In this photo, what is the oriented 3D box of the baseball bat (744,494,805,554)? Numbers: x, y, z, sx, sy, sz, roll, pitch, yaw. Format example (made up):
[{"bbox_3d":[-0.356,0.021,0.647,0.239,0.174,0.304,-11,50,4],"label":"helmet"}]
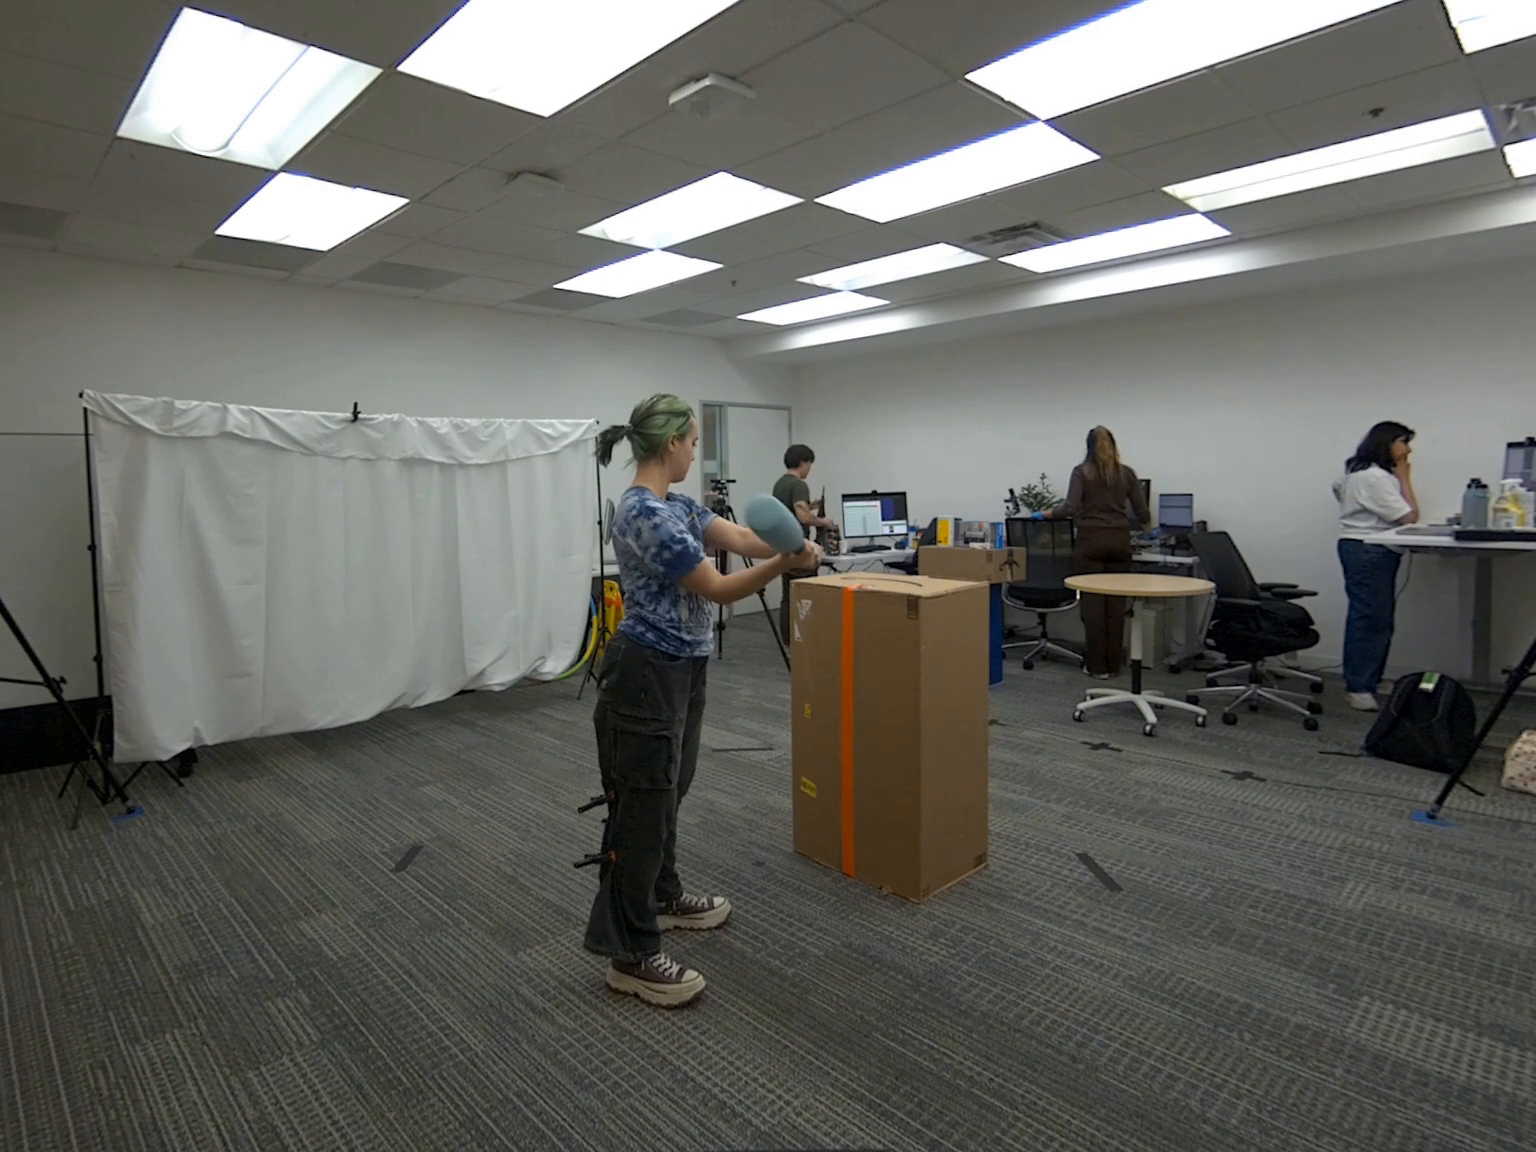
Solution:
[{"bbox_3d":[0.060,-0.087,2.054,0.090,0.090,0.529,0,-10,14],"label":"baseball bat"}]
